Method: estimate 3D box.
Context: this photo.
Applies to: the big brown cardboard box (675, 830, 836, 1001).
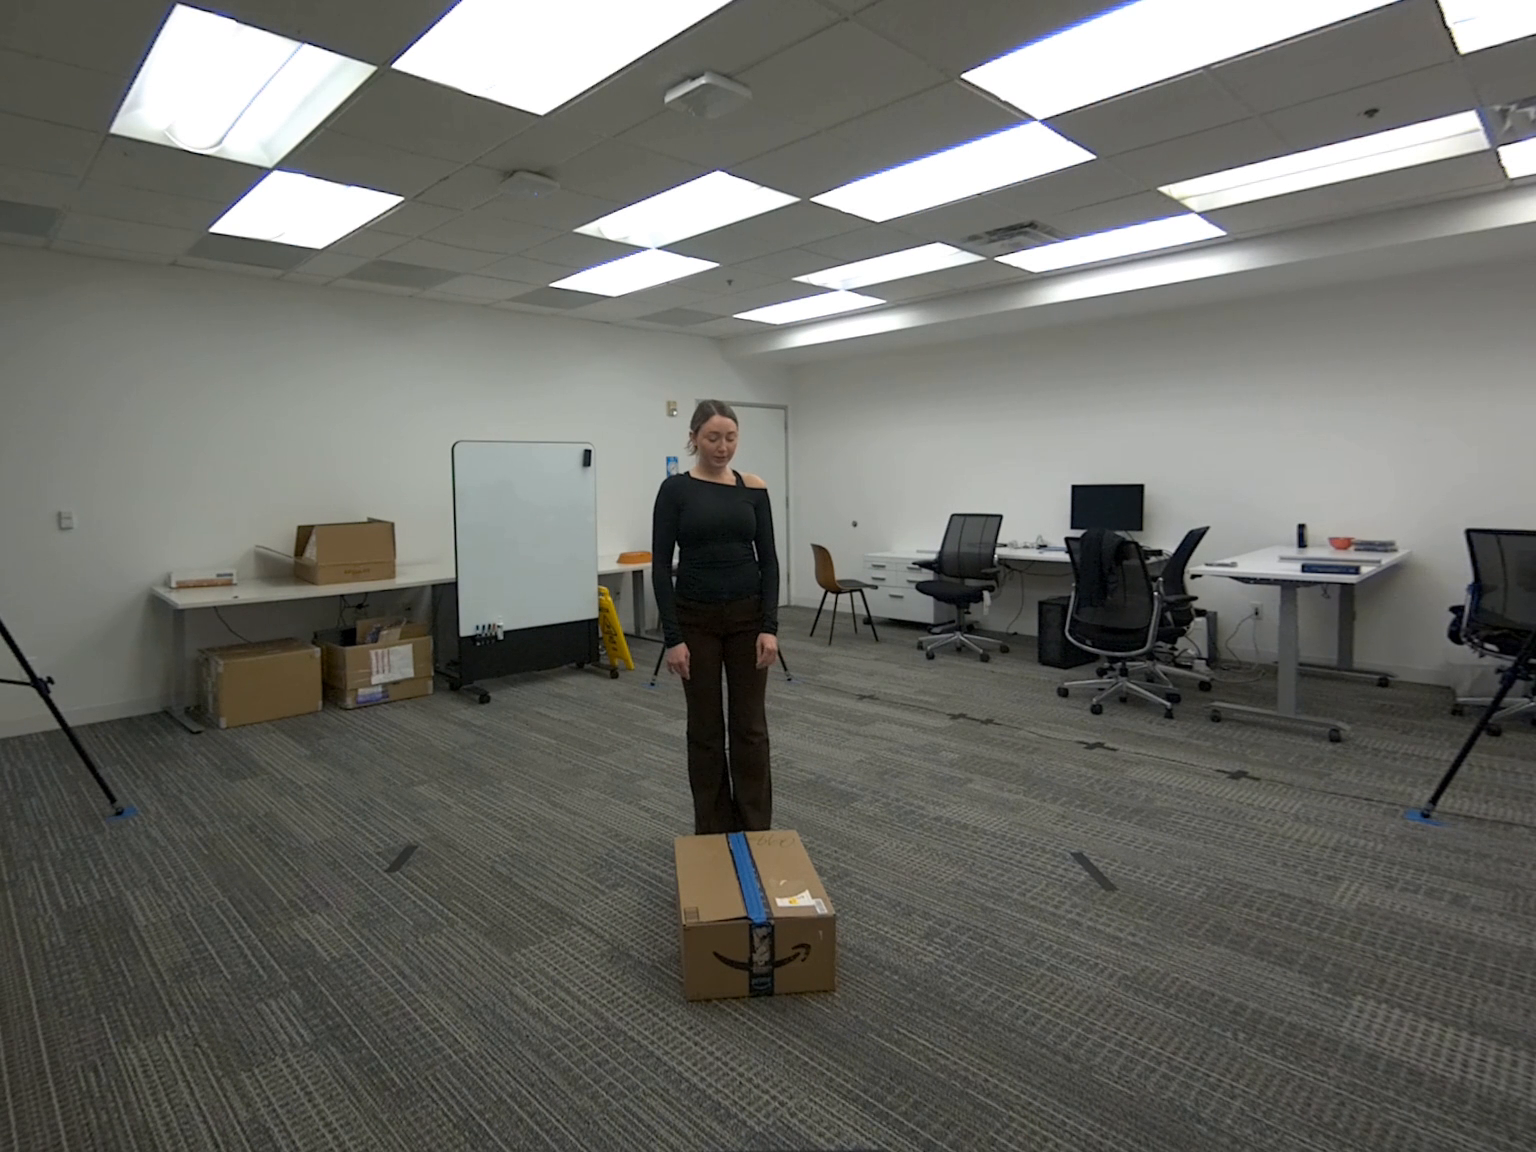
[{"bbox_3d":[-0.063,0.996,2.571,0.415,0.232,0.595,-2,5,-8],"label":"big brown cardboard box"}]
